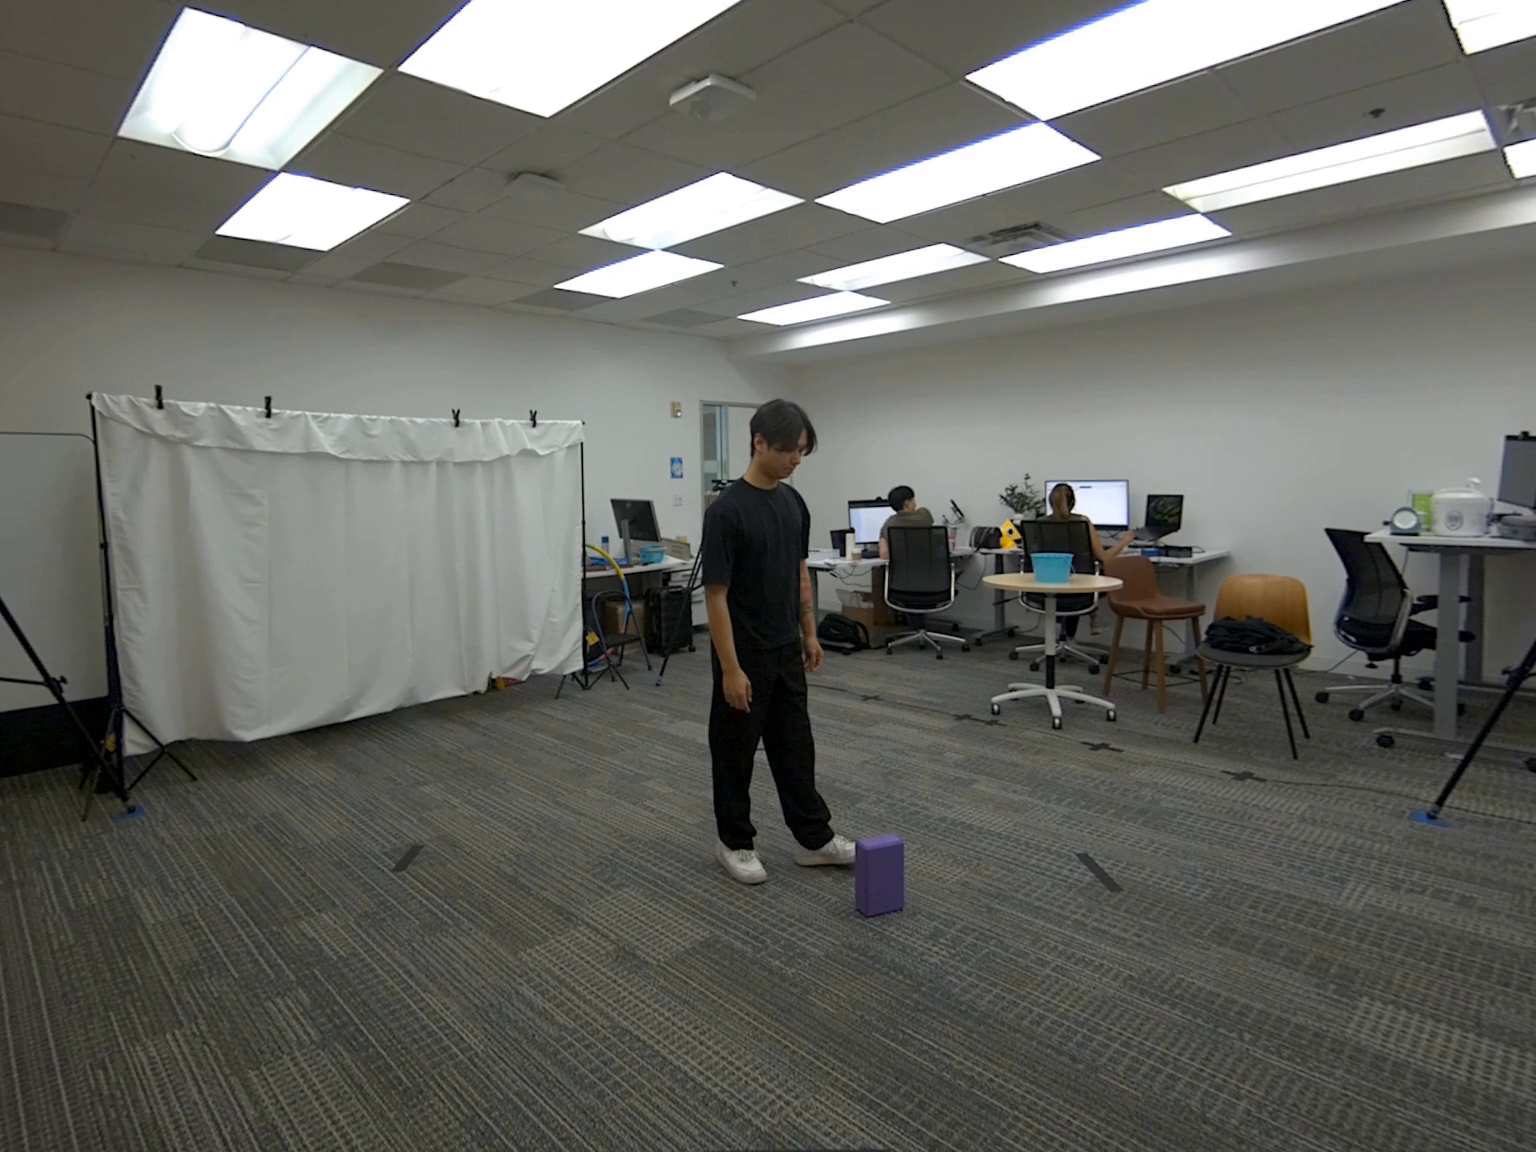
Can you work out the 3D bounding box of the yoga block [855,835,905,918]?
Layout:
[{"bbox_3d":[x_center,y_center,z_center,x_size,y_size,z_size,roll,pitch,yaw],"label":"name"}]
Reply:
[{"bbox_3d":[0.363,0.963,2.758,0.146,0.228,0.078,-2,6,-22],"label":"yoga block"}]
